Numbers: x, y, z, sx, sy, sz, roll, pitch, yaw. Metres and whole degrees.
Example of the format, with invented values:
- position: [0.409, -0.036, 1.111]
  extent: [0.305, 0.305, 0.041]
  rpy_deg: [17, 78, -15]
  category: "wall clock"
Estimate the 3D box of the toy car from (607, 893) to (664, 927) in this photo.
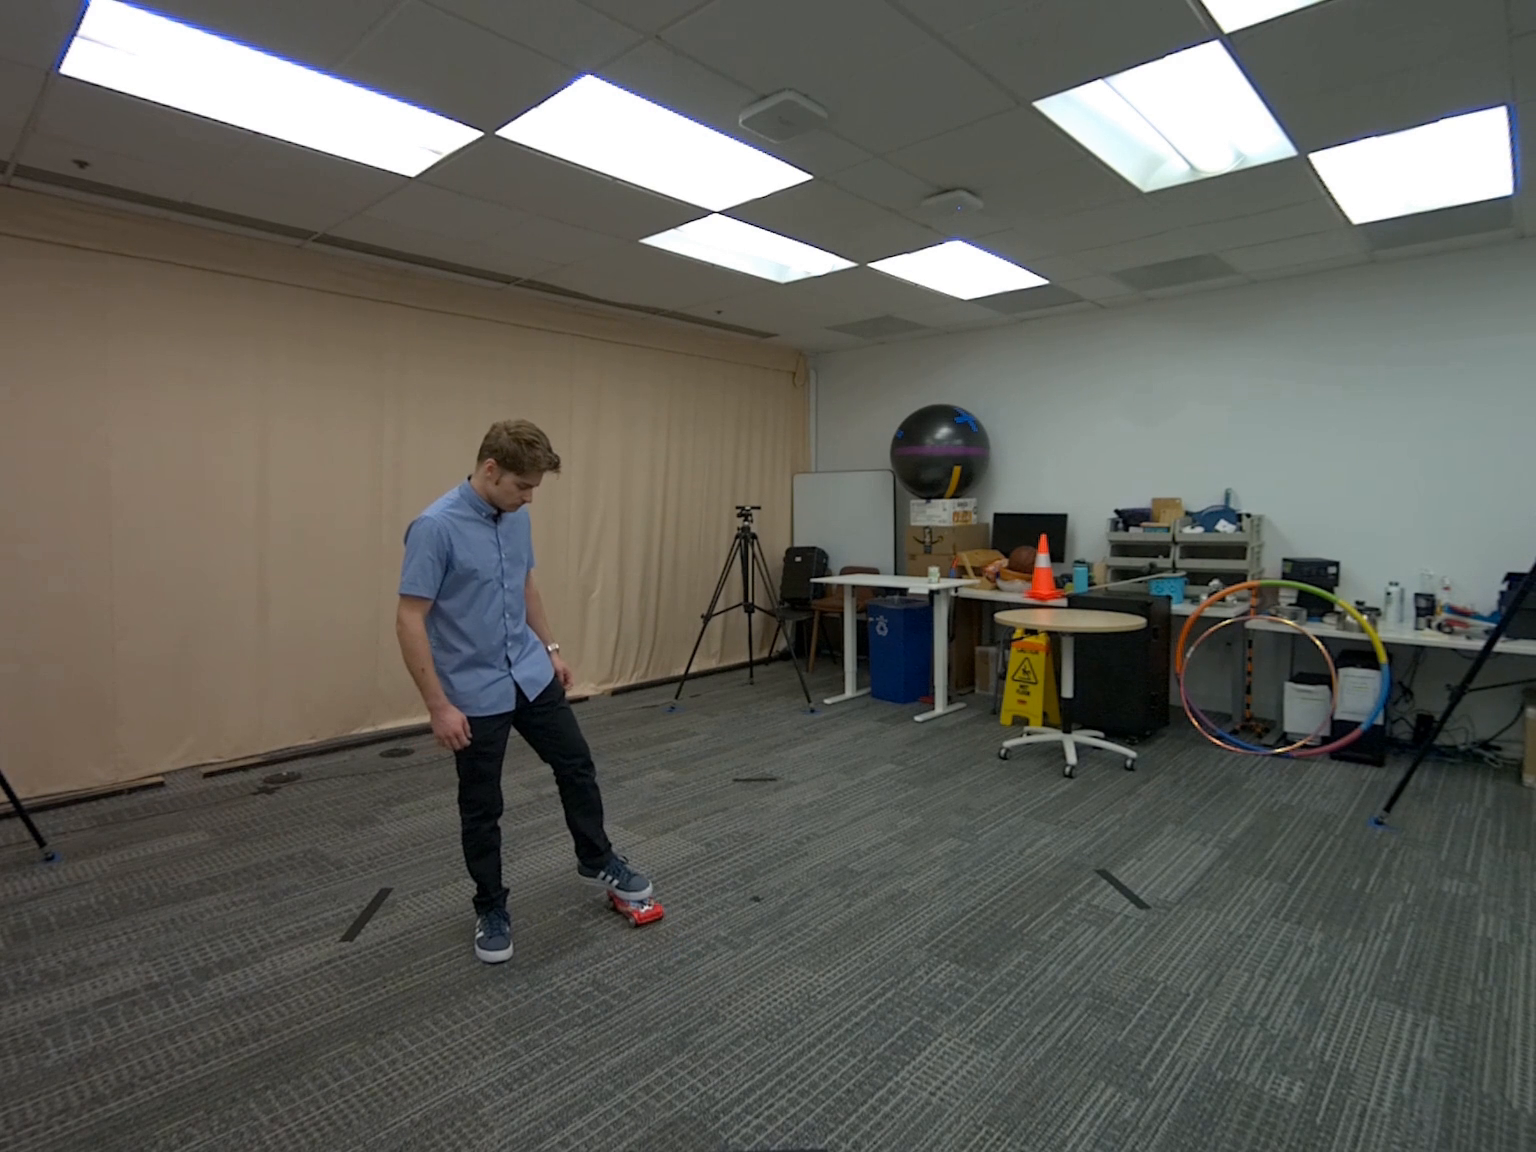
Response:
- position: [-0.463, 1.129, 2.885]
  extent: [0.126, 0.083, 0.263]
  rpy_deg: [-4, 15, -35]
  category: "toy car"
